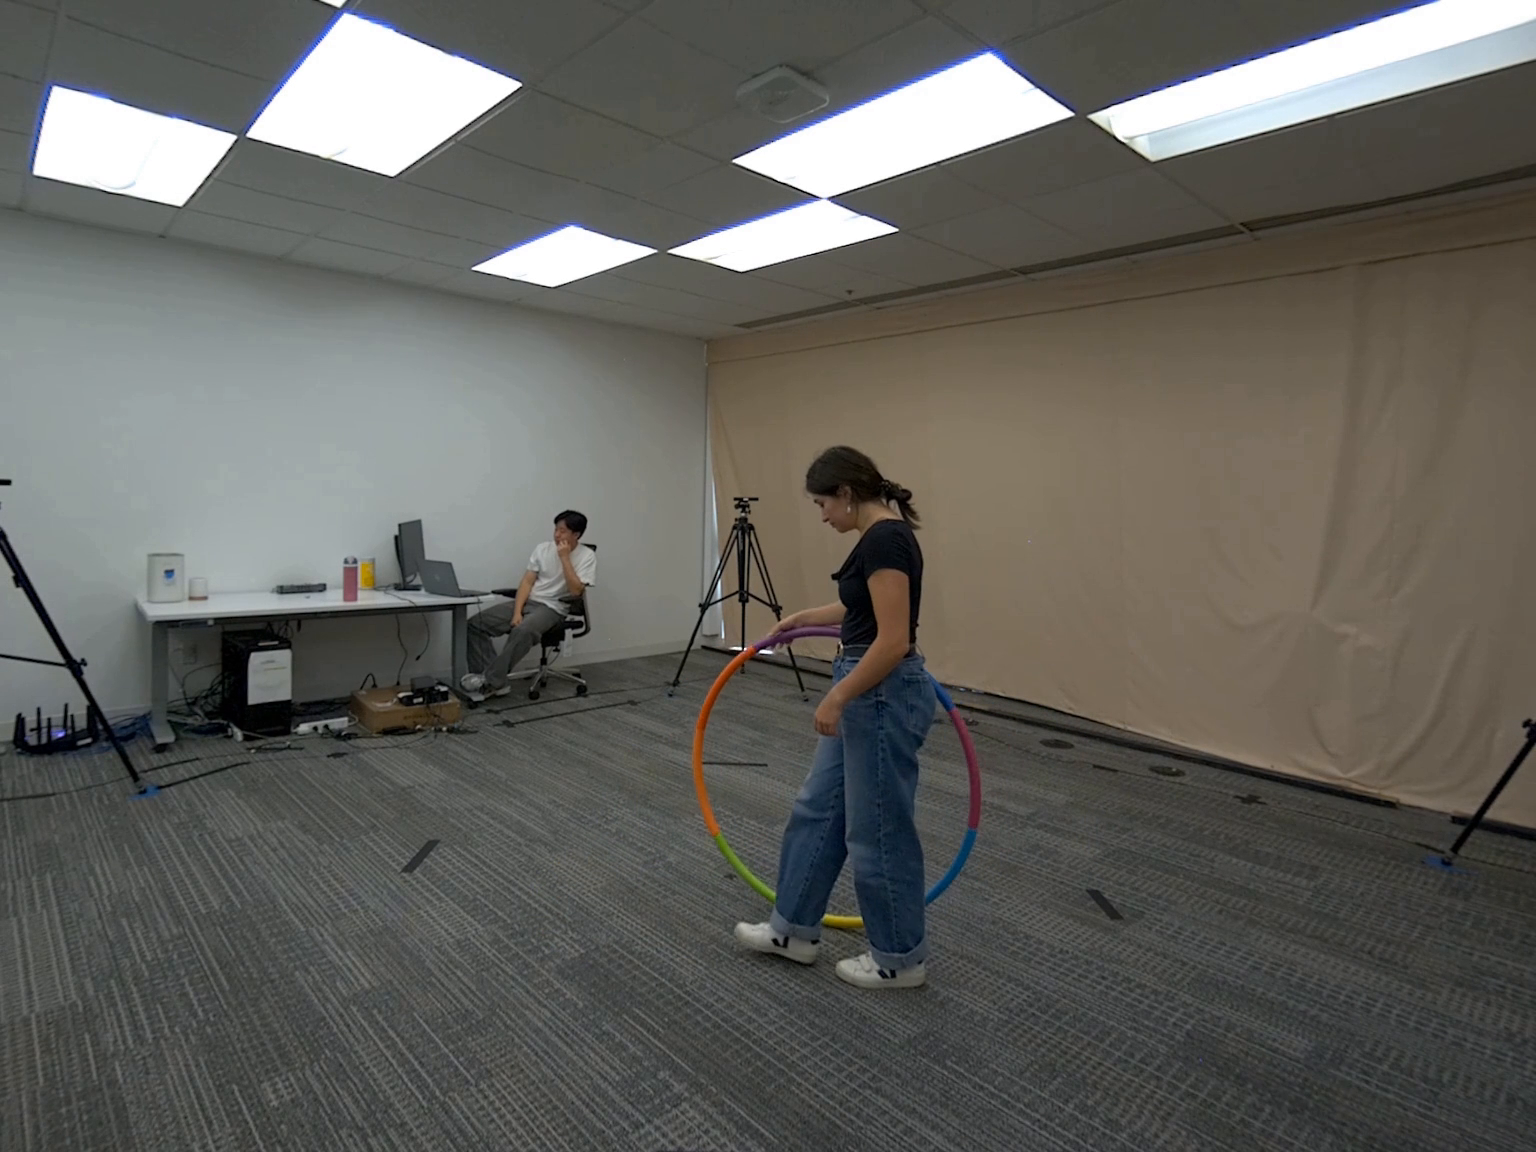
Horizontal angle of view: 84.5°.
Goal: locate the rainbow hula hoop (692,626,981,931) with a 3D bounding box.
[{"bbox_3d":[0.183,0.661,2.767,0.997,0.978,0.035,3,1,25],"label":"rainbow hula hoop"}]
